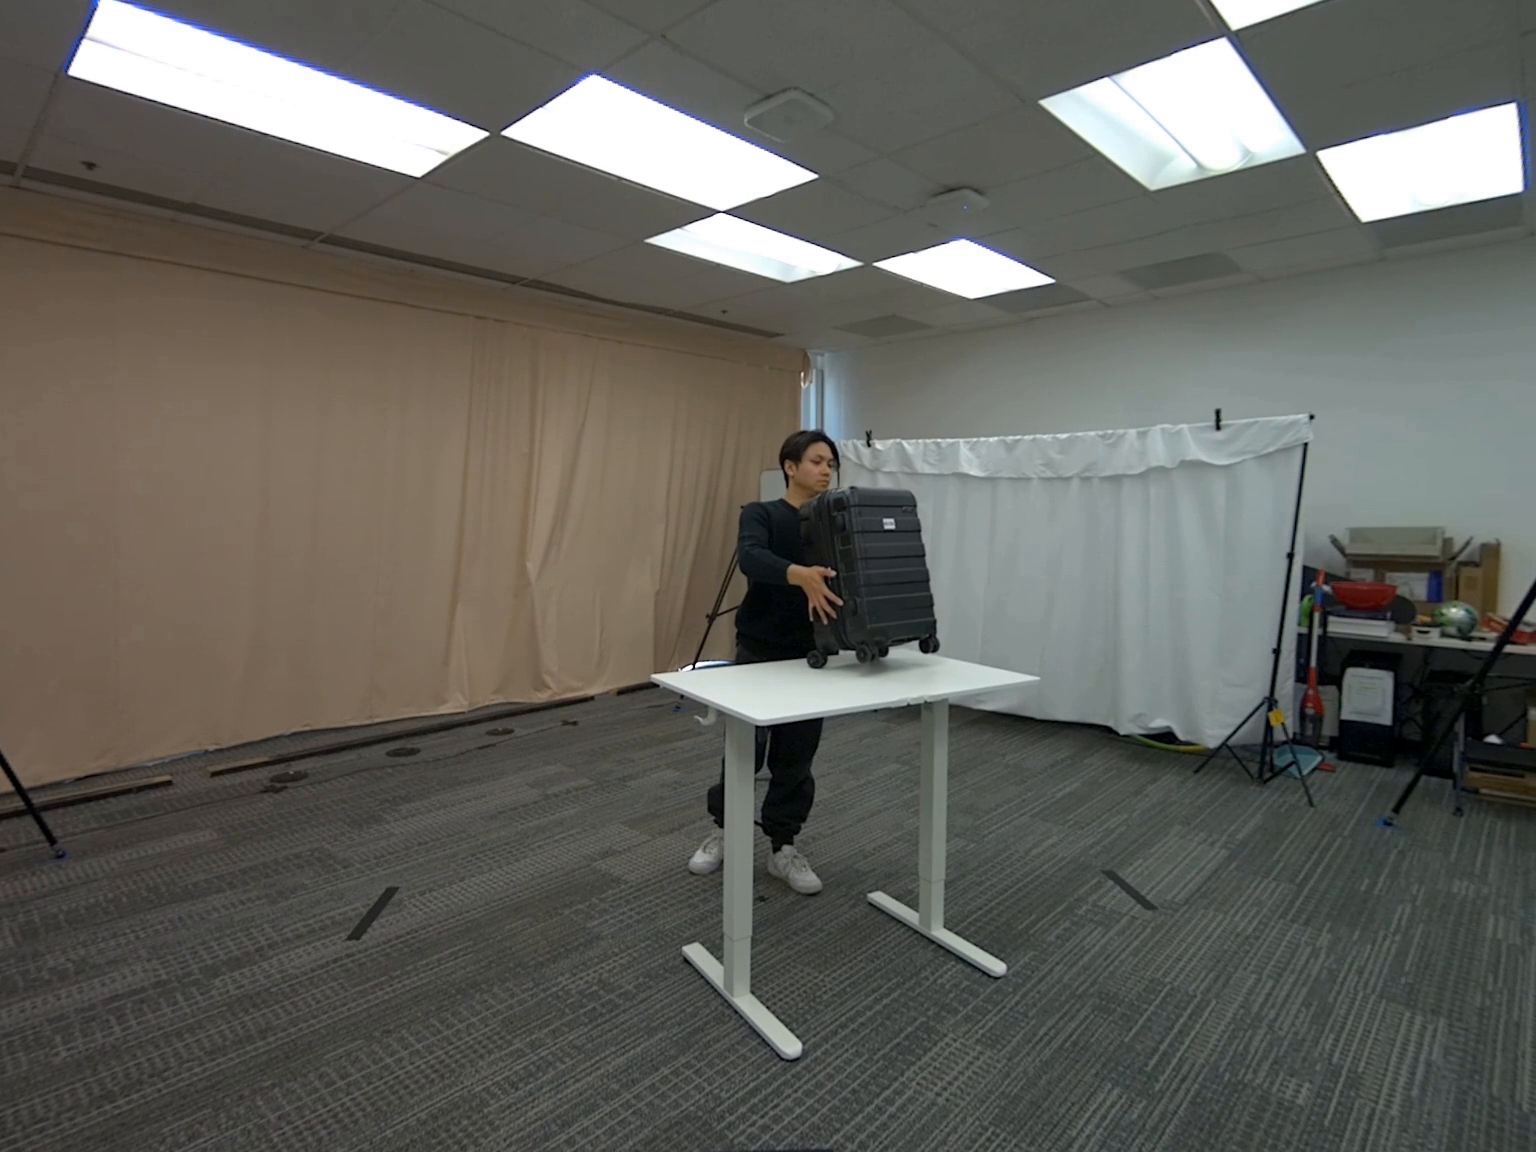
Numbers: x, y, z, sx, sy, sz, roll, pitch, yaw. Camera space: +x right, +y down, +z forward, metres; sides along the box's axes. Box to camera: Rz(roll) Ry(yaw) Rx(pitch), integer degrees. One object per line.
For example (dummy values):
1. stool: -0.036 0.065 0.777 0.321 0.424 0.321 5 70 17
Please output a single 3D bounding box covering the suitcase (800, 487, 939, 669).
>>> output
1. suitcase: 0.317 -0.009 2.678 0.364 0.552 0.255 0 -8 -41
